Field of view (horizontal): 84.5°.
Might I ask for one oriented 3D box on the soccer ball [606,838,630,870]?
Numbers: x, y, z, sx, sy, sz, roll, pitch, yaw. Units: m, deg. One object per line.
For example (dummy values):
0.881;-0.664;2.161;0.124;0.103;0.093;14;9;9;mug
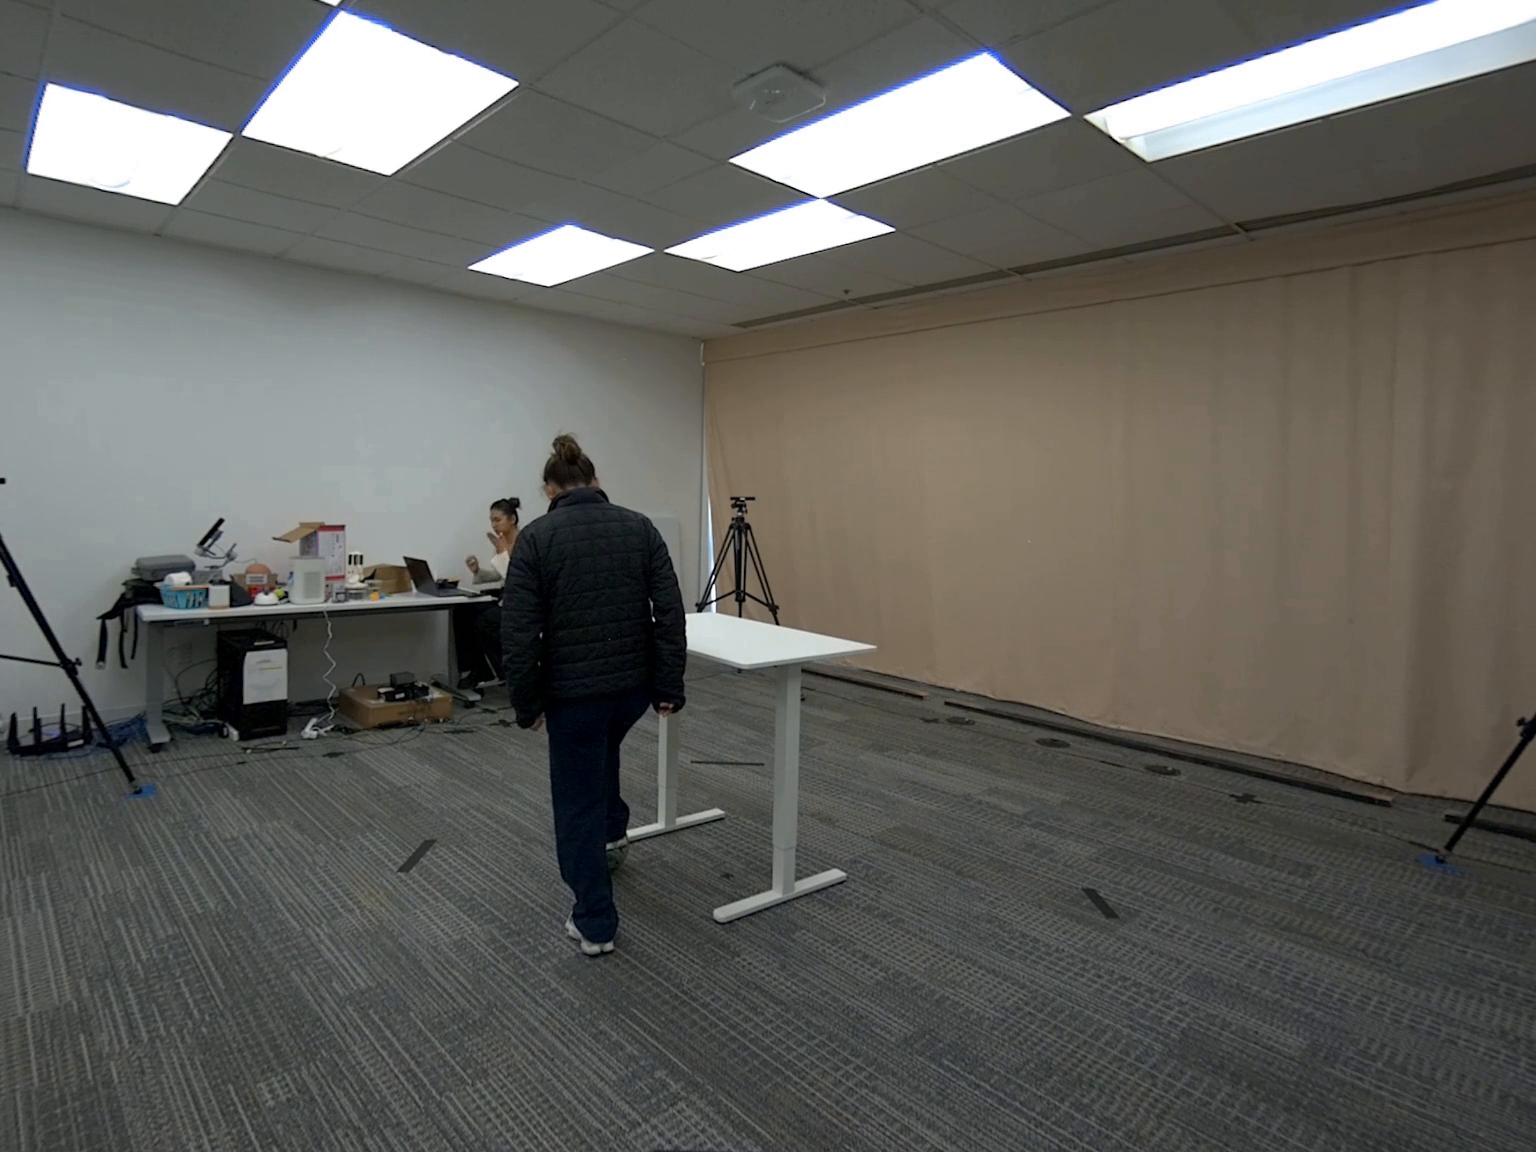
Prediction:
-0.613;1.009;3.118;0.187;0.187;0.188;1;4;-1;soccer ball
